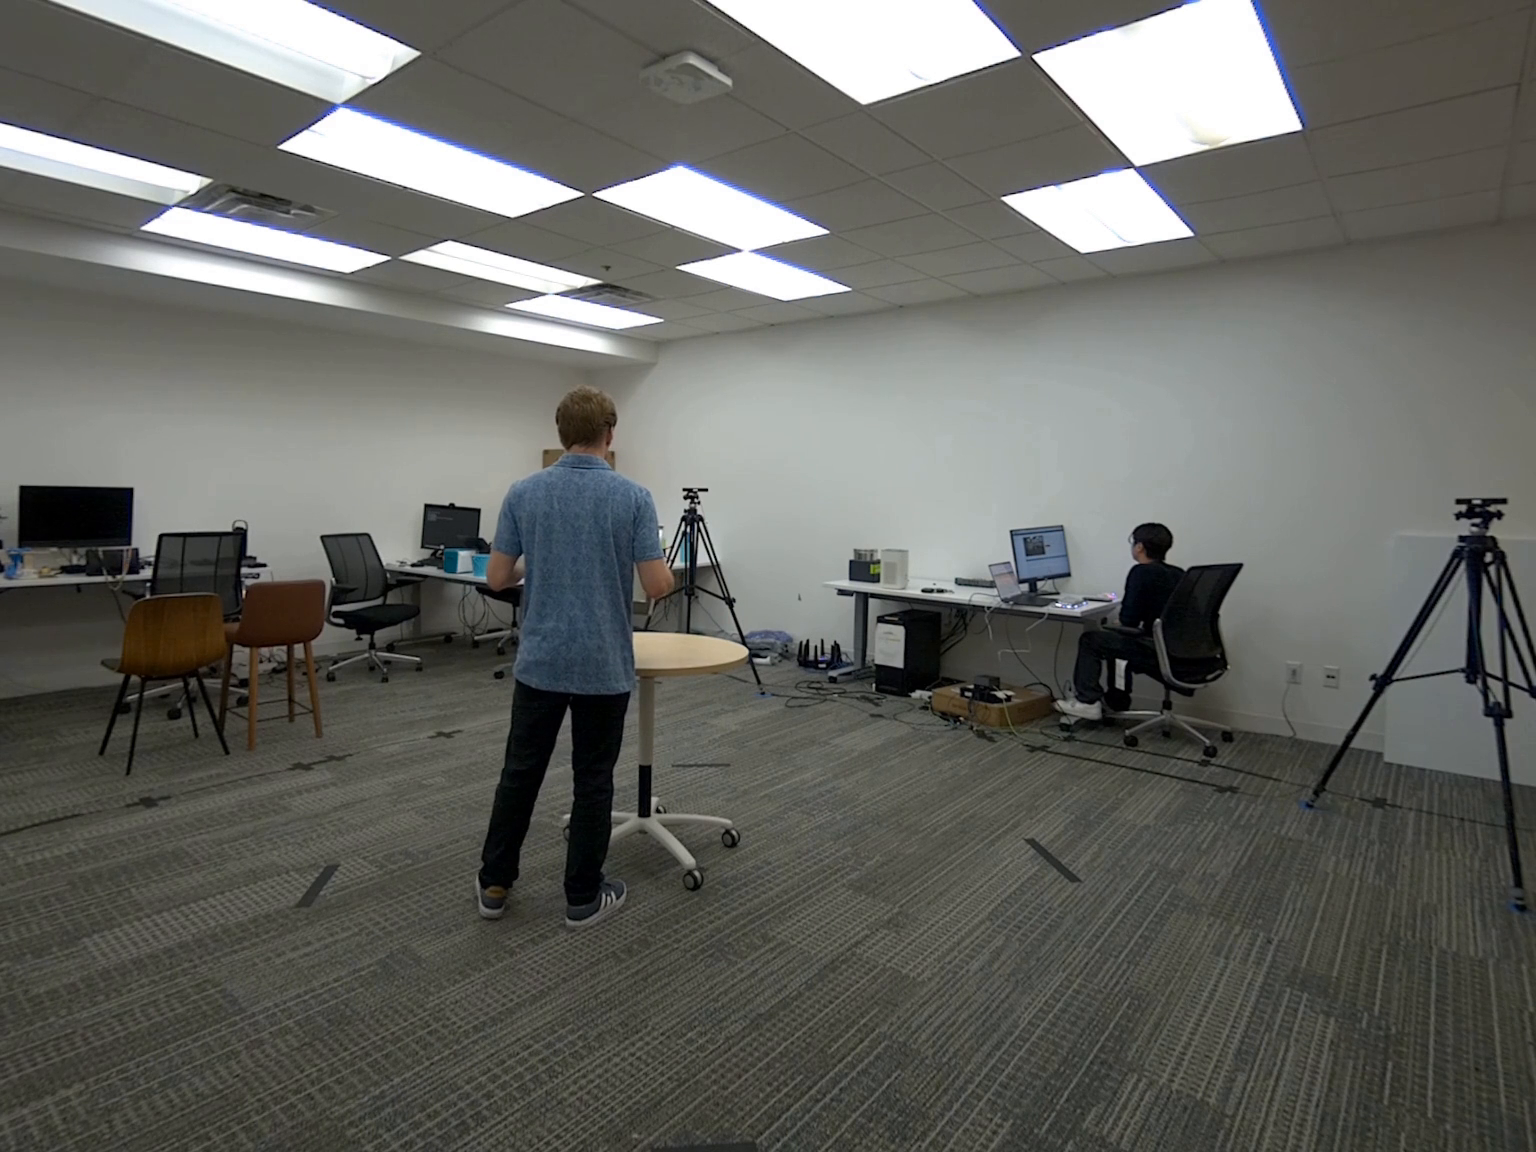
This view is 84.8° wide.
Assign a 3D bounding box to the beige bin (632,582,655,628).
[{"bbox_3d":[-0.602,-0.030,2.994,0.422,0.185,0.386,4,32,-1],"label":"beige bin"}]
